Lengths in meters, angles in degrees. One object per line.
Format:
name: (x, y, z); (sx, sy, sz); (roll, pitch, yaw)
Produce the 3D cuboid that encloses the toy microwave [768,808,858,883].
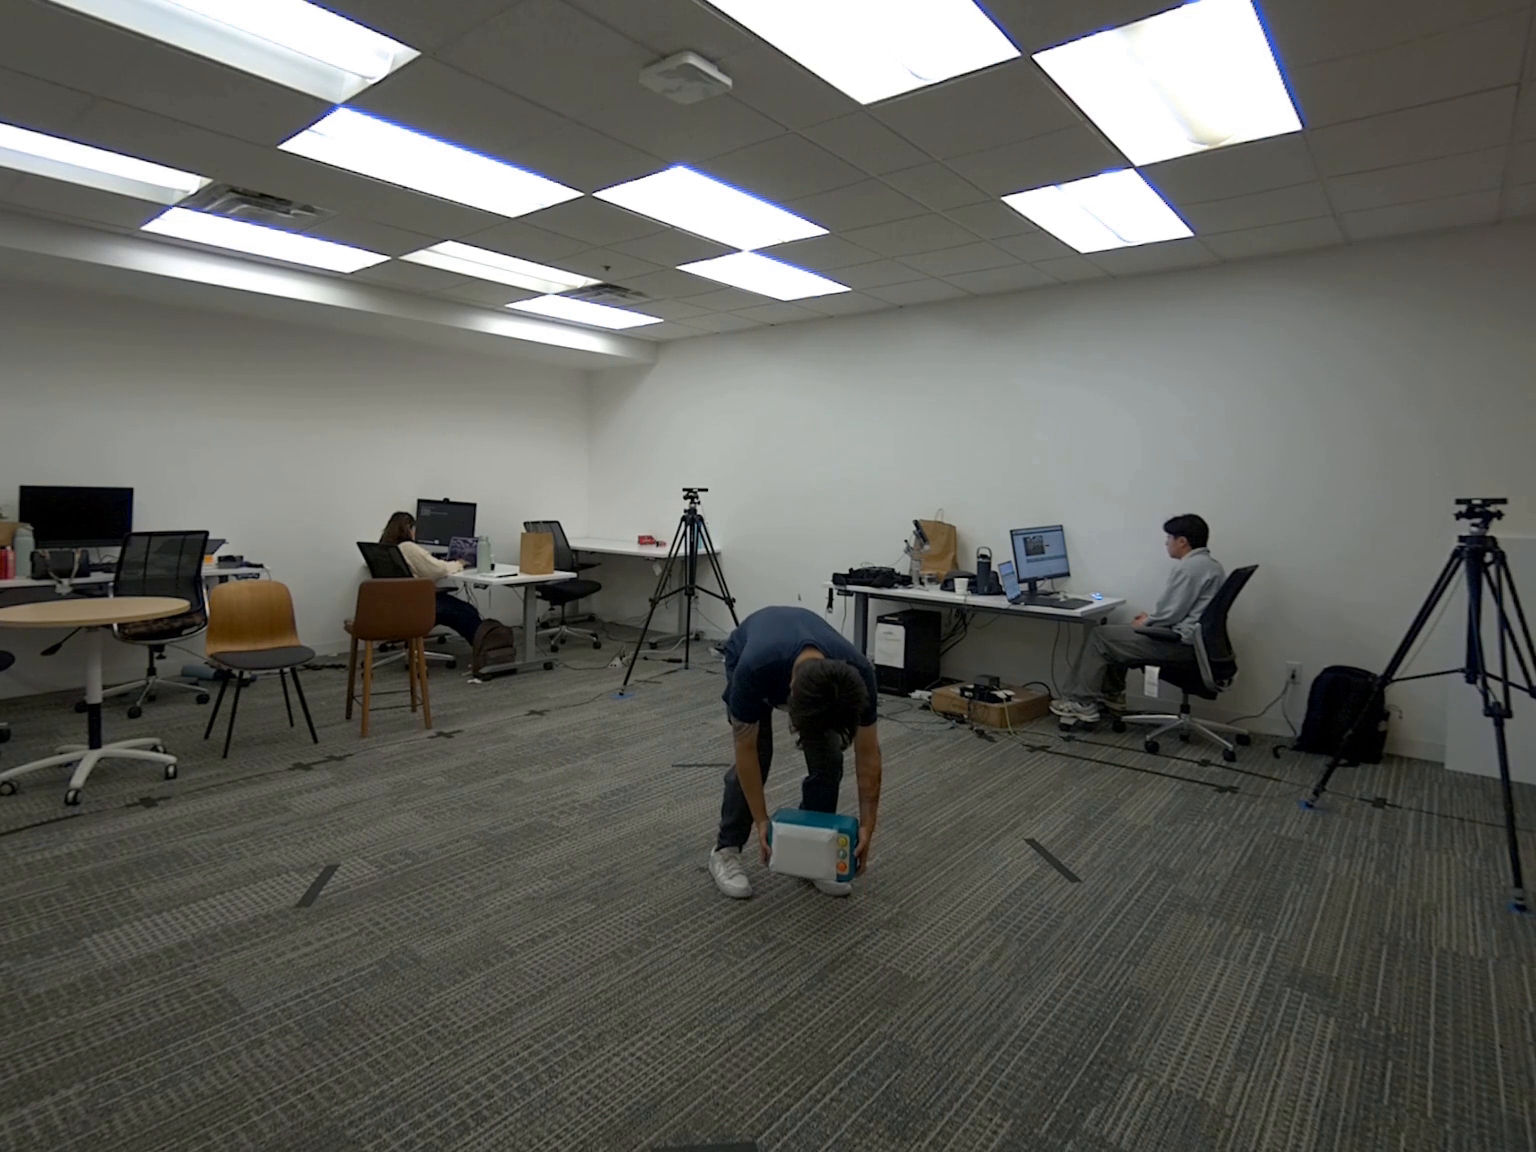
toy microwave: (0.140, 0.872, 2.769); (0.291, 0.184, 0.150); (3, 1, 15)
